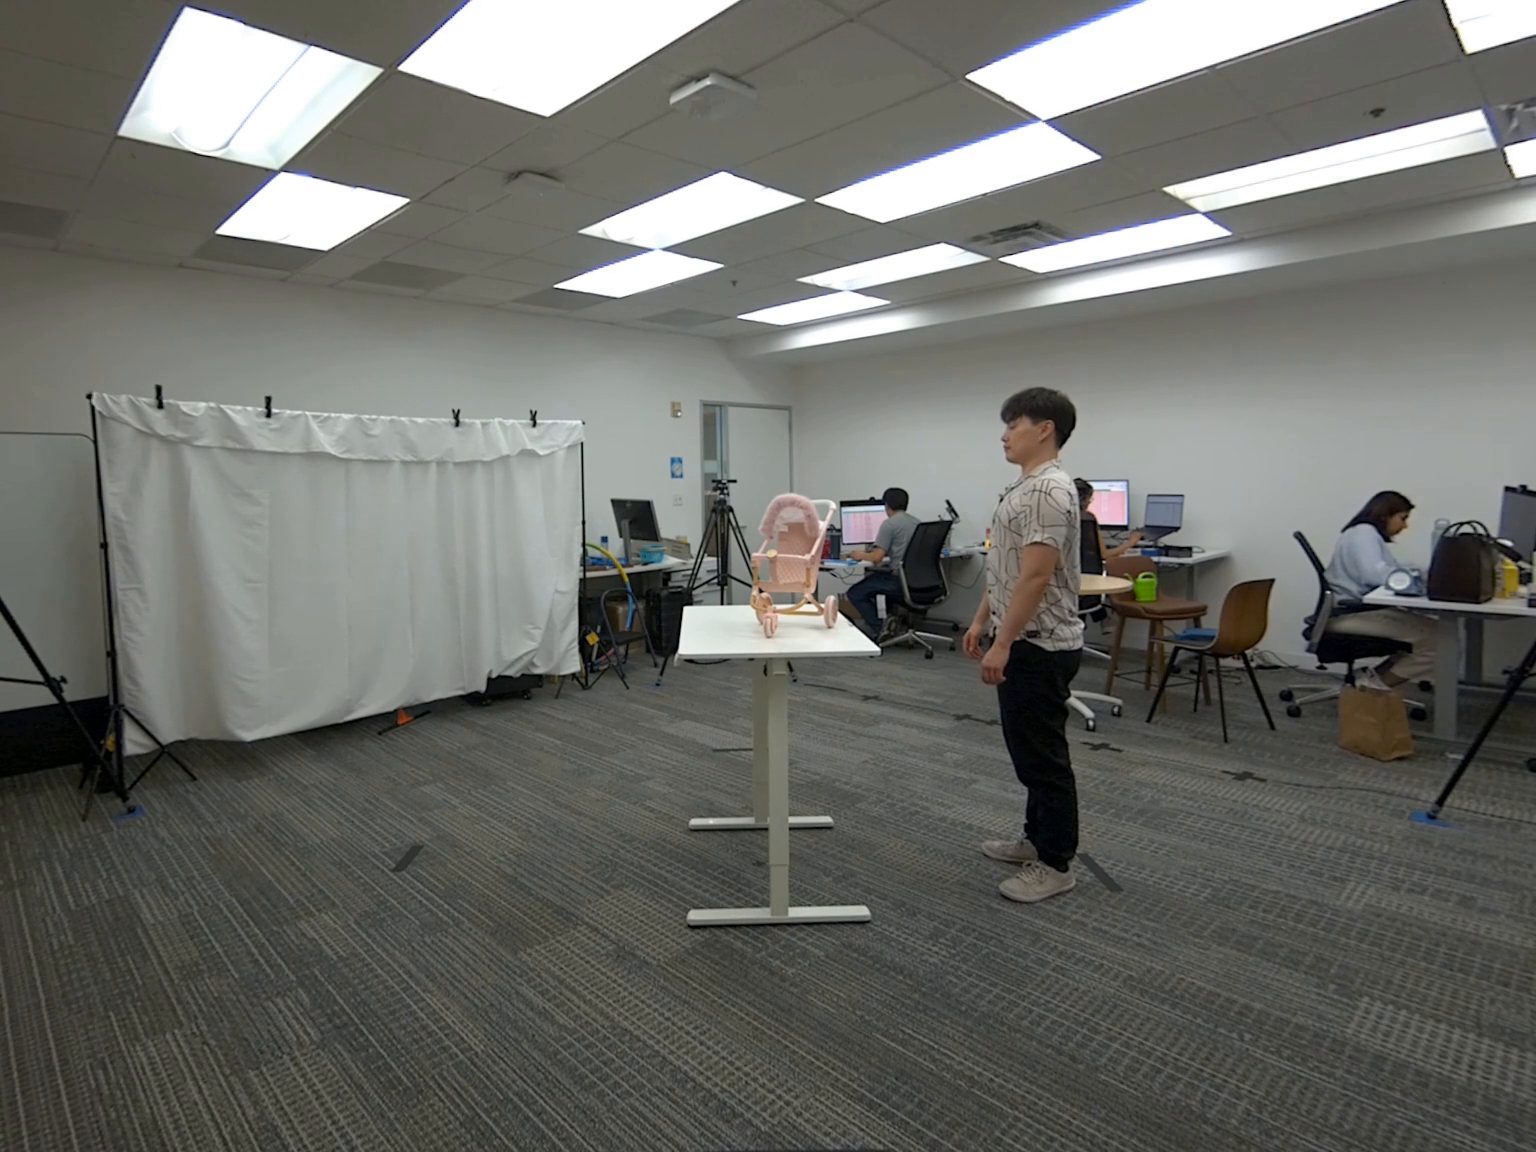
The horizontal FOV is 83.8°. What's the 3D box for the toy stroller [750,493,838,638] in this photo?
[{"bbox_3d":[0.077,-0.044,2.940,0.288,0.539,0.330,0,-11,28],"label":"toy stroller"}]
